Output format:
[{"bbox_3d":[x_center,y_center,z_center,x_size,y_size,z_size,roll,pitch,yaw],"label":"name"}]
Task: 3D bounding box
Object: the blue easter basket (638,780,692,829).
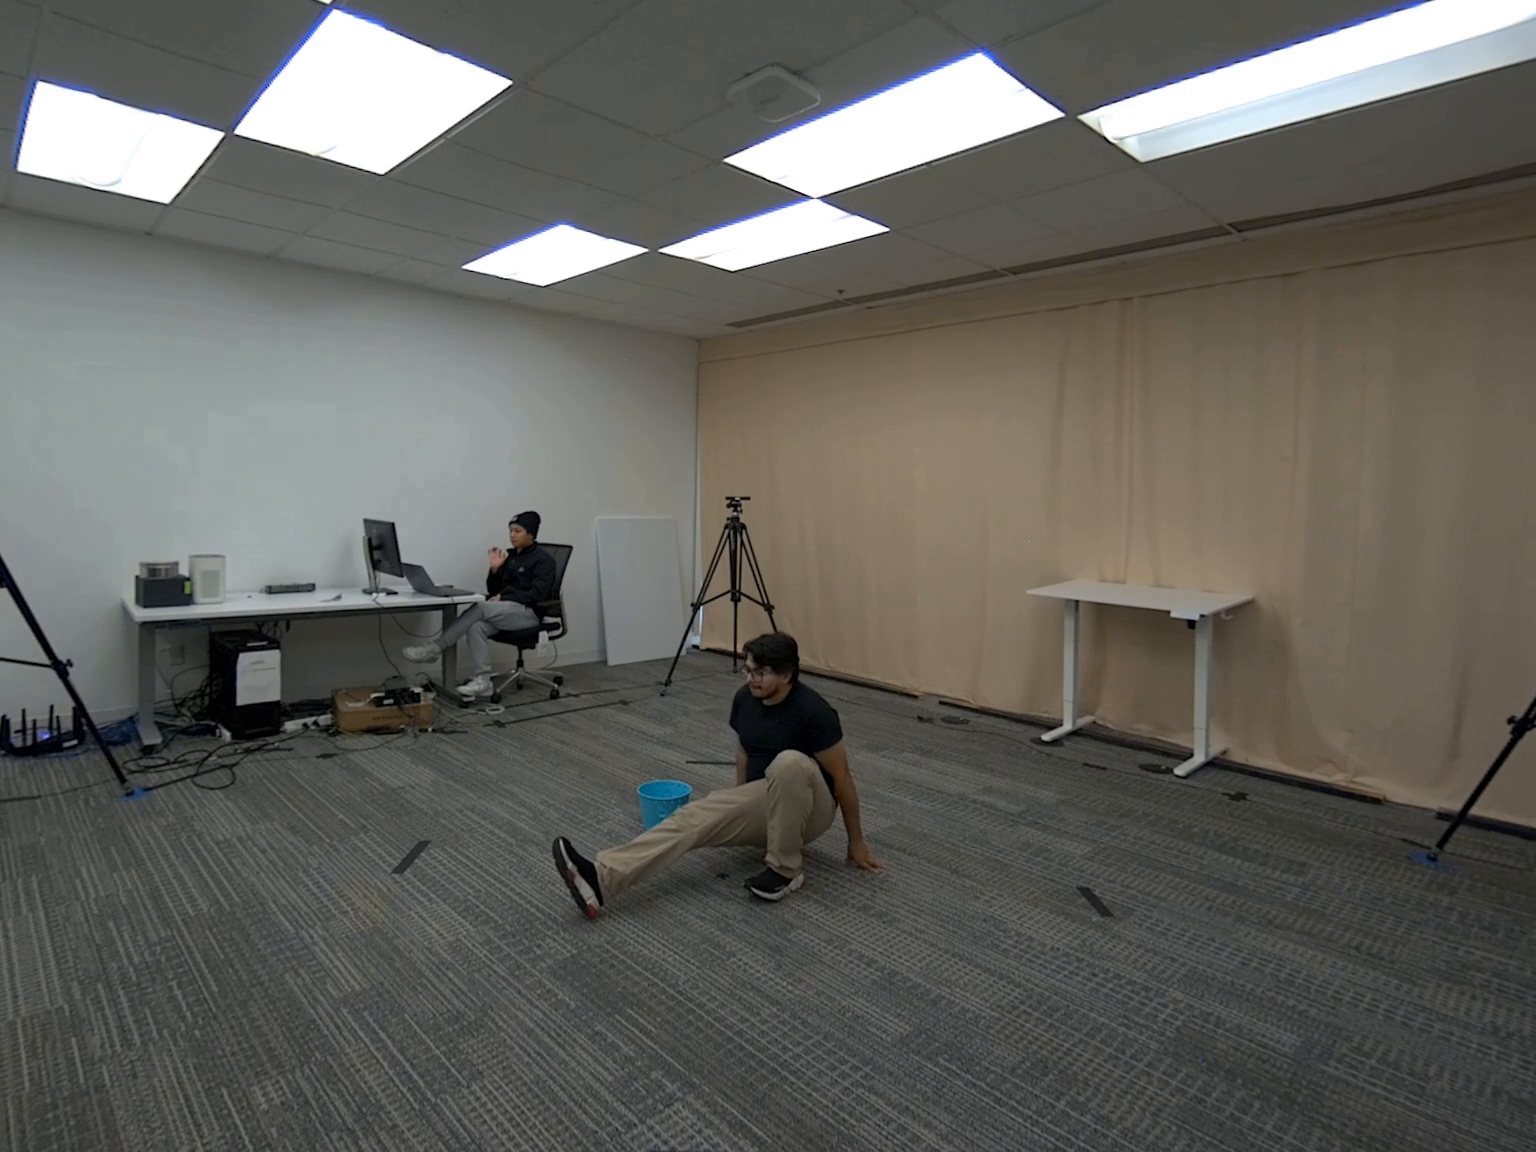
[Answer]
[{"bbox_3d":[-0.443,0.970,3.586,0.243,0.155,0.244,1,4,-1],"label":"blue easter basket"}]
